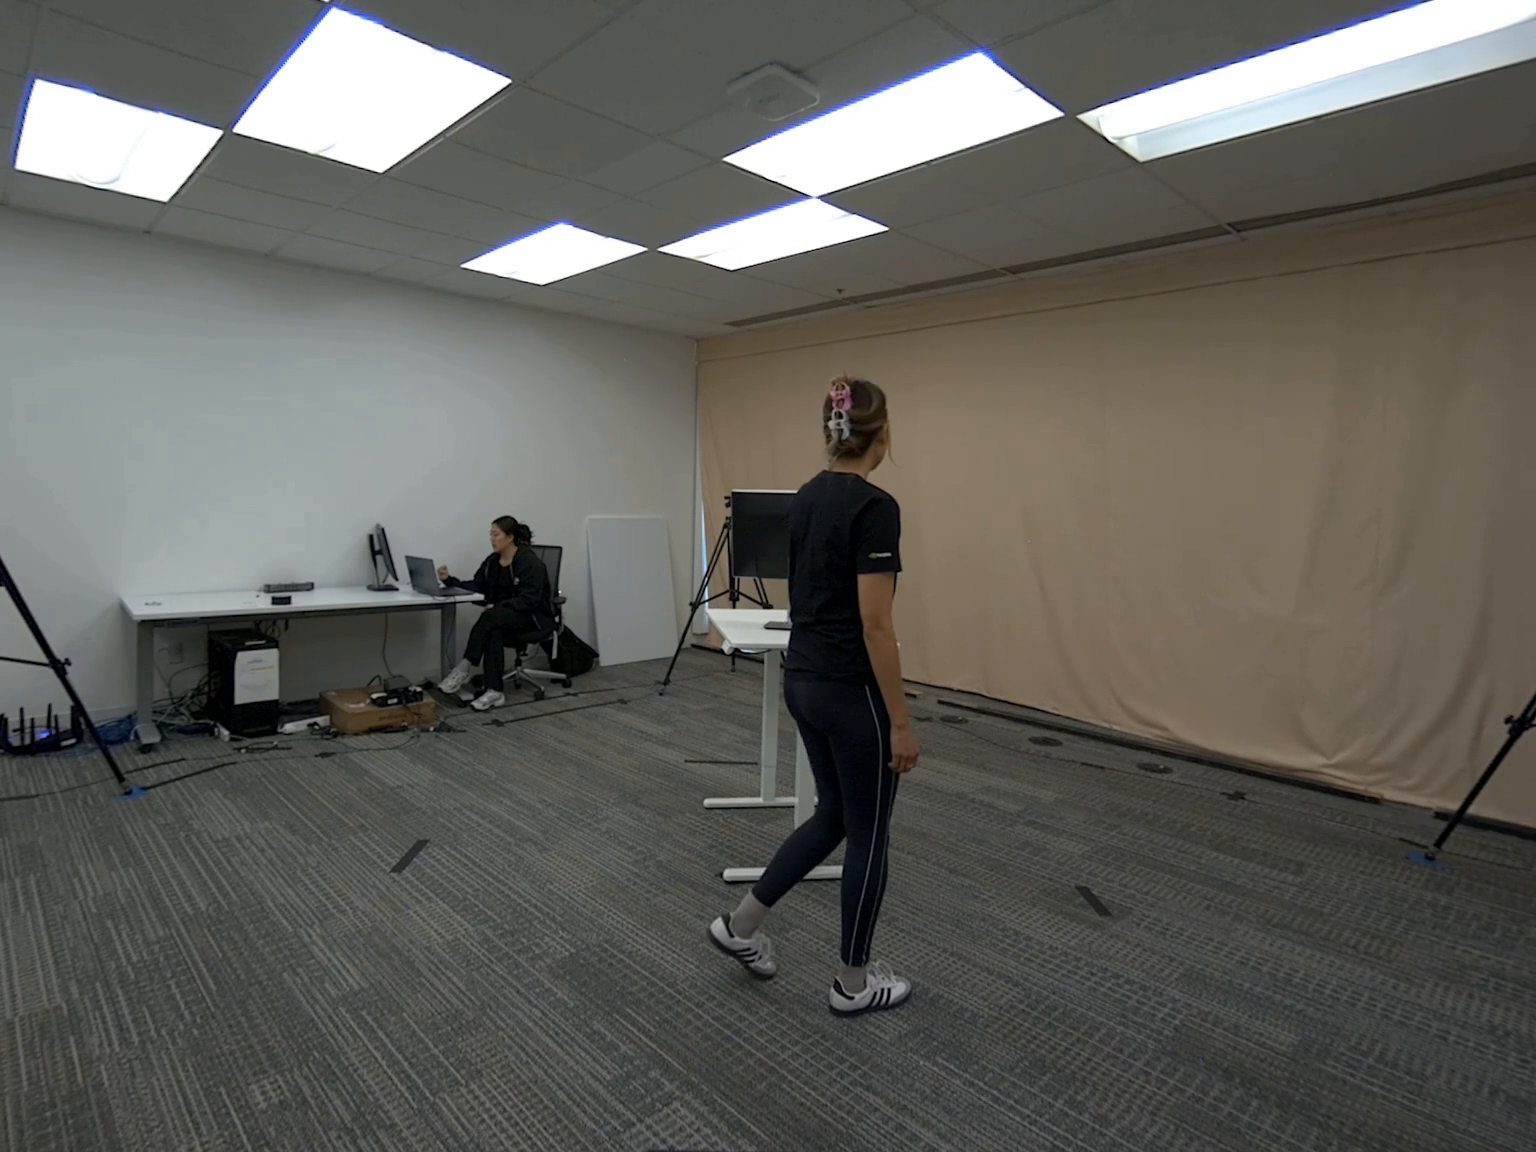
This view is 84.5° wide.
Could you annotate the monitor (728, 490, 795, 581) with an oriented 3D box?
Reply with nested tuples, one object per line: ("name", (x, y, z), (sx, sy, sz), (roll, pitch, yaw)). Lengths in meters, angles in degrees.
("monitor", (0.105, -0.054, 3.320), (0.543, 0.522, 0.186), (2, 2, 8))
